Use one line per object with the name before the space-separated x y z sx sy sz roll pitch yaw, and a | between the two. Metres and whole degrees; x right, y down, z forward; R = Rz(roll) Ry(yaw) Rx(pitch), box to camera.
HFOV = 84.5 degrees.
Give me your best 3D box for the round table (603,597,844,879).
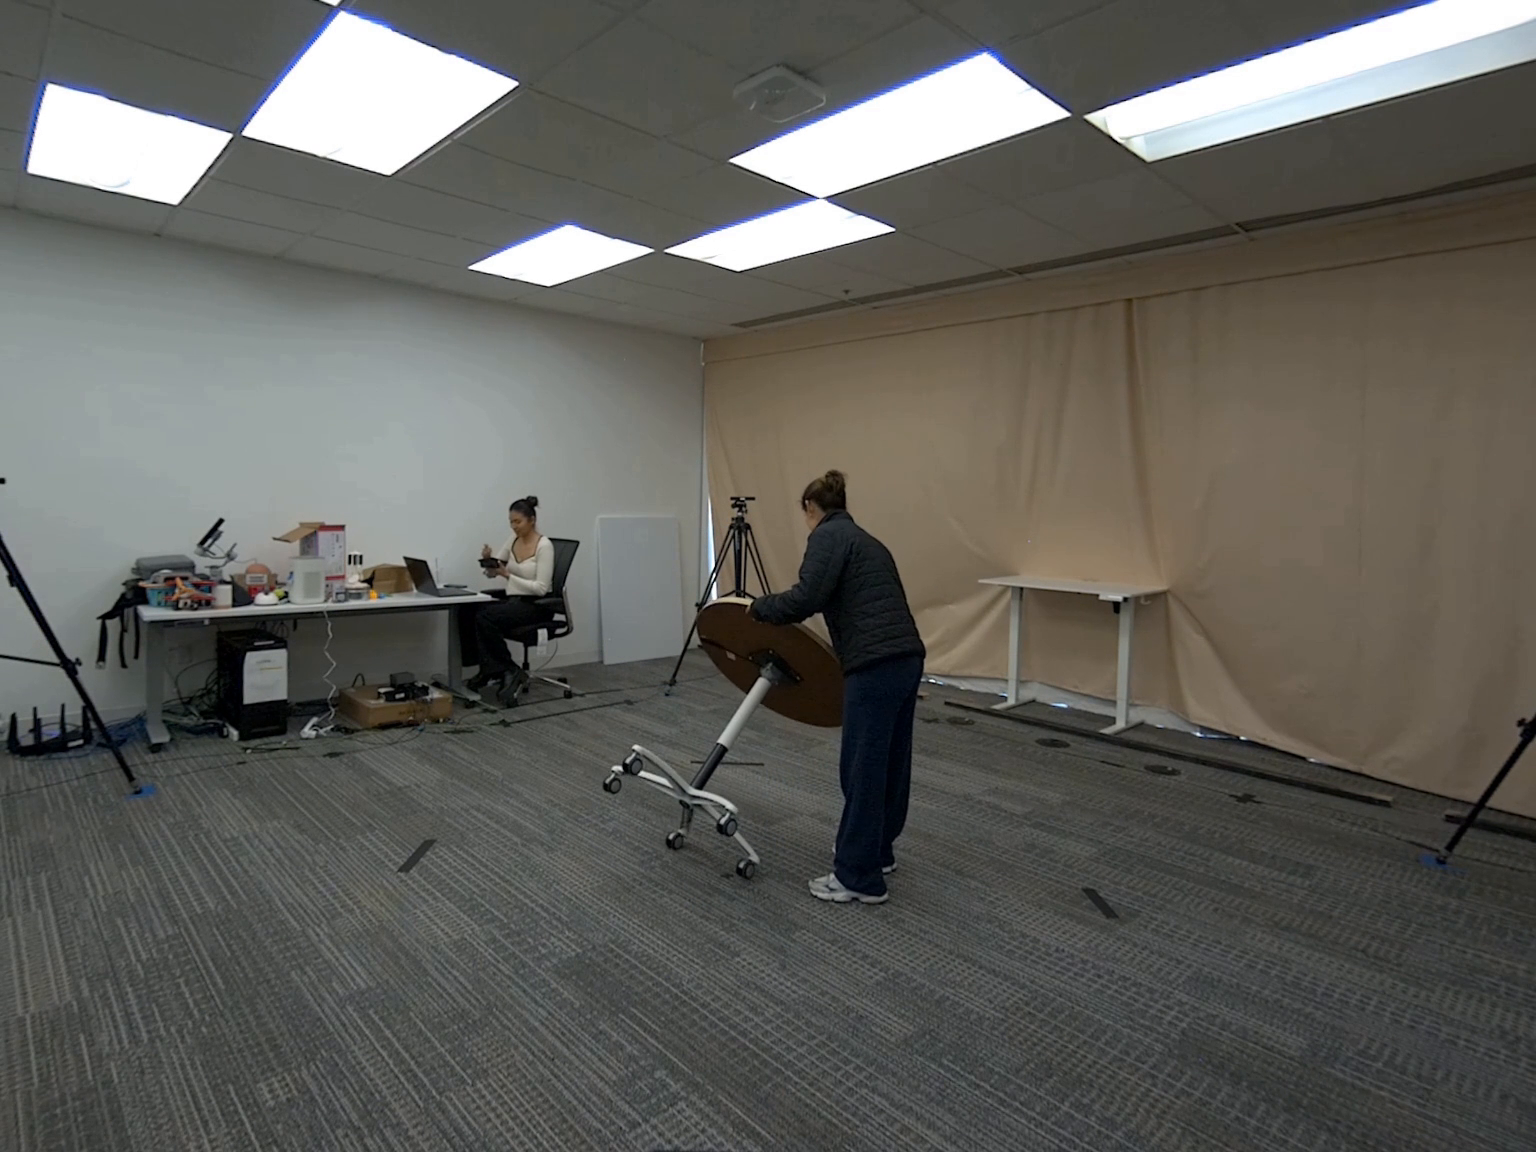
round table | -0.158 0.624 3.247 0.805 0.763 0.789 5 46 39
